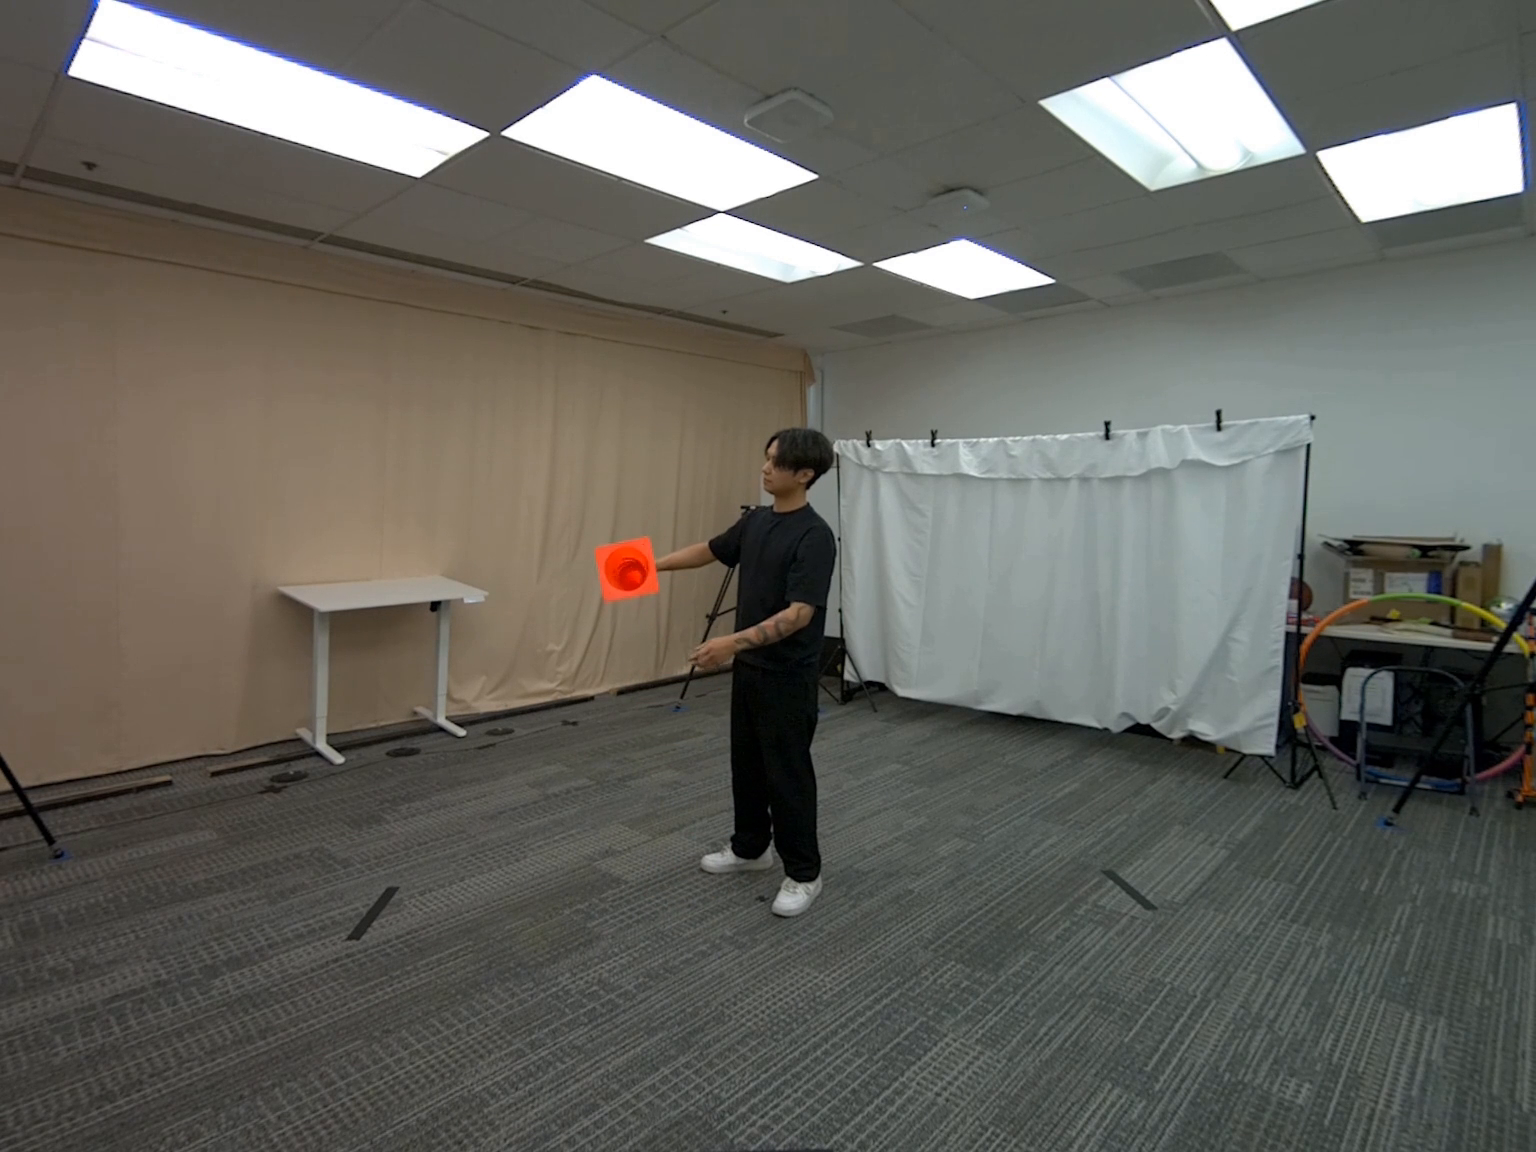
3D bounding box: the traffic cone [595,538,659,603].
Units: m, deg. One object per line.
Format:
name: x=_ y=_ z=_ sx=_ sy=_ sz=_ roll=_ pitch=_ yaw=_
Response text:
traffic cone: x=-0.511 y=0.009 z=3.134 sx=0.202 sy=0.206 sz=0.384 roll=-12 pitch=-7 yaw=-10
